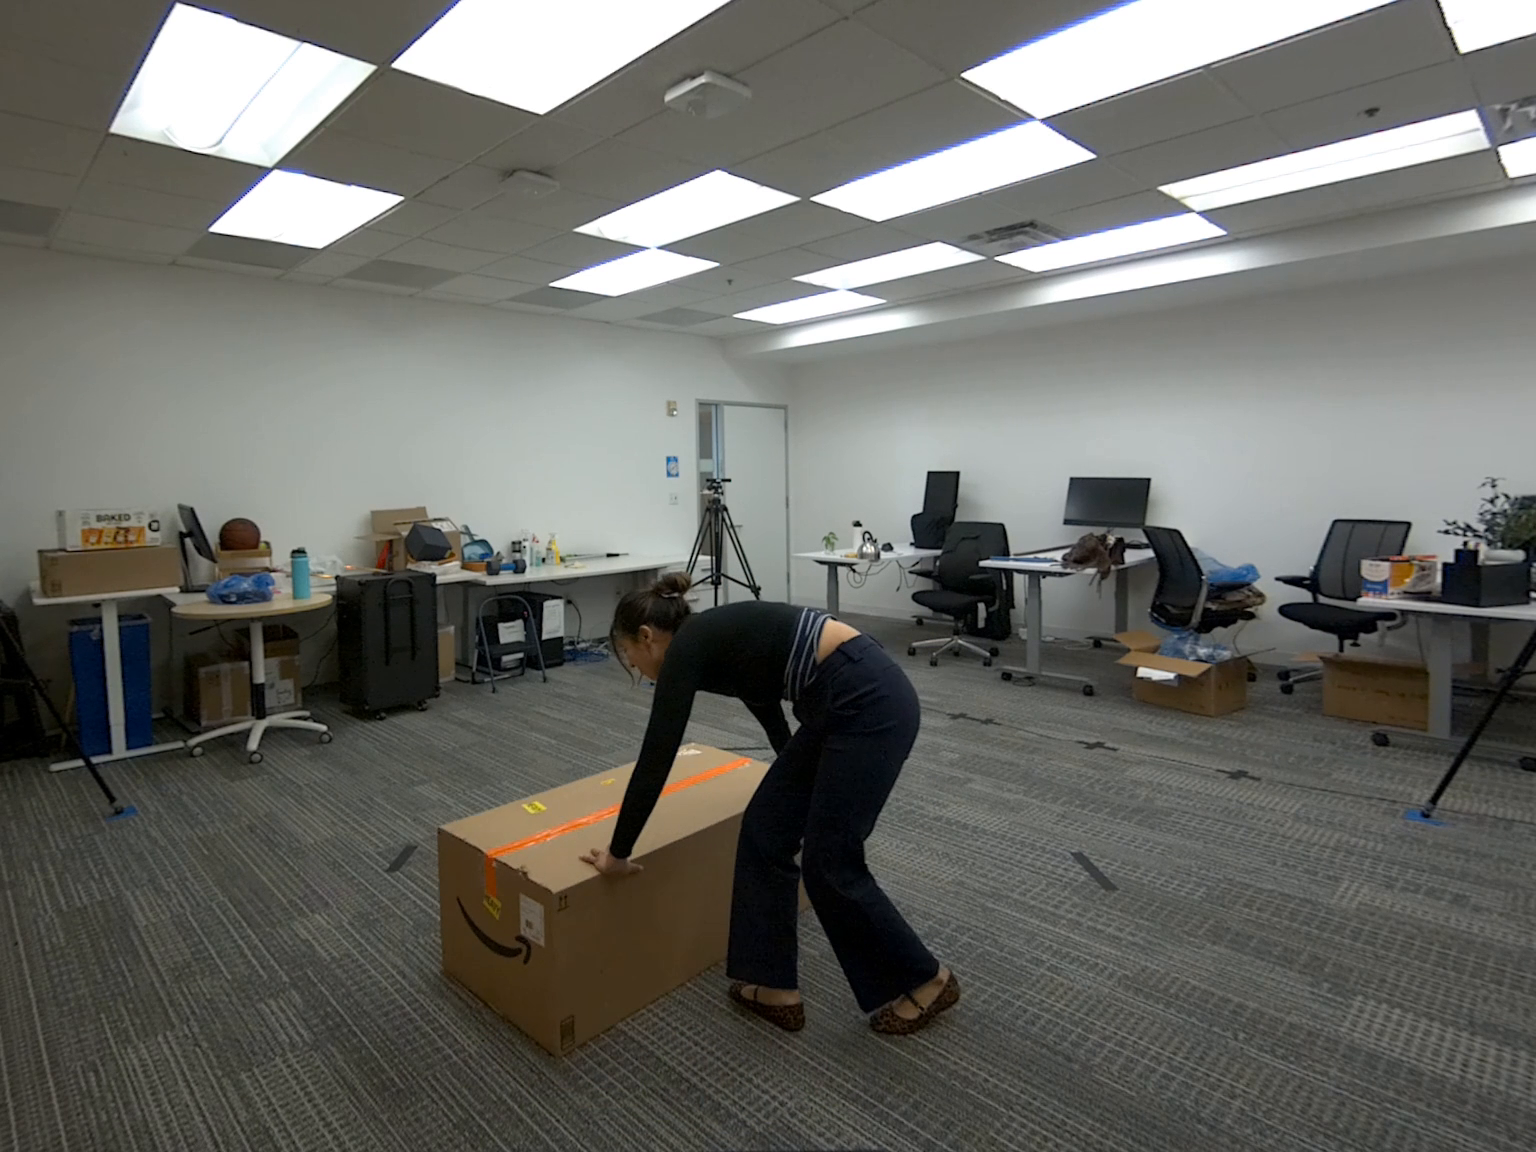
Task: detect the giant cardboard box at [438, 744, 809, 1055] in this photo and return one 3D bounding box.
[{"bbox_3d":[-0.390,0.892,2.623,0.596,0.424,0.999,5,9,42],"label":"giant cardboard box"}]
